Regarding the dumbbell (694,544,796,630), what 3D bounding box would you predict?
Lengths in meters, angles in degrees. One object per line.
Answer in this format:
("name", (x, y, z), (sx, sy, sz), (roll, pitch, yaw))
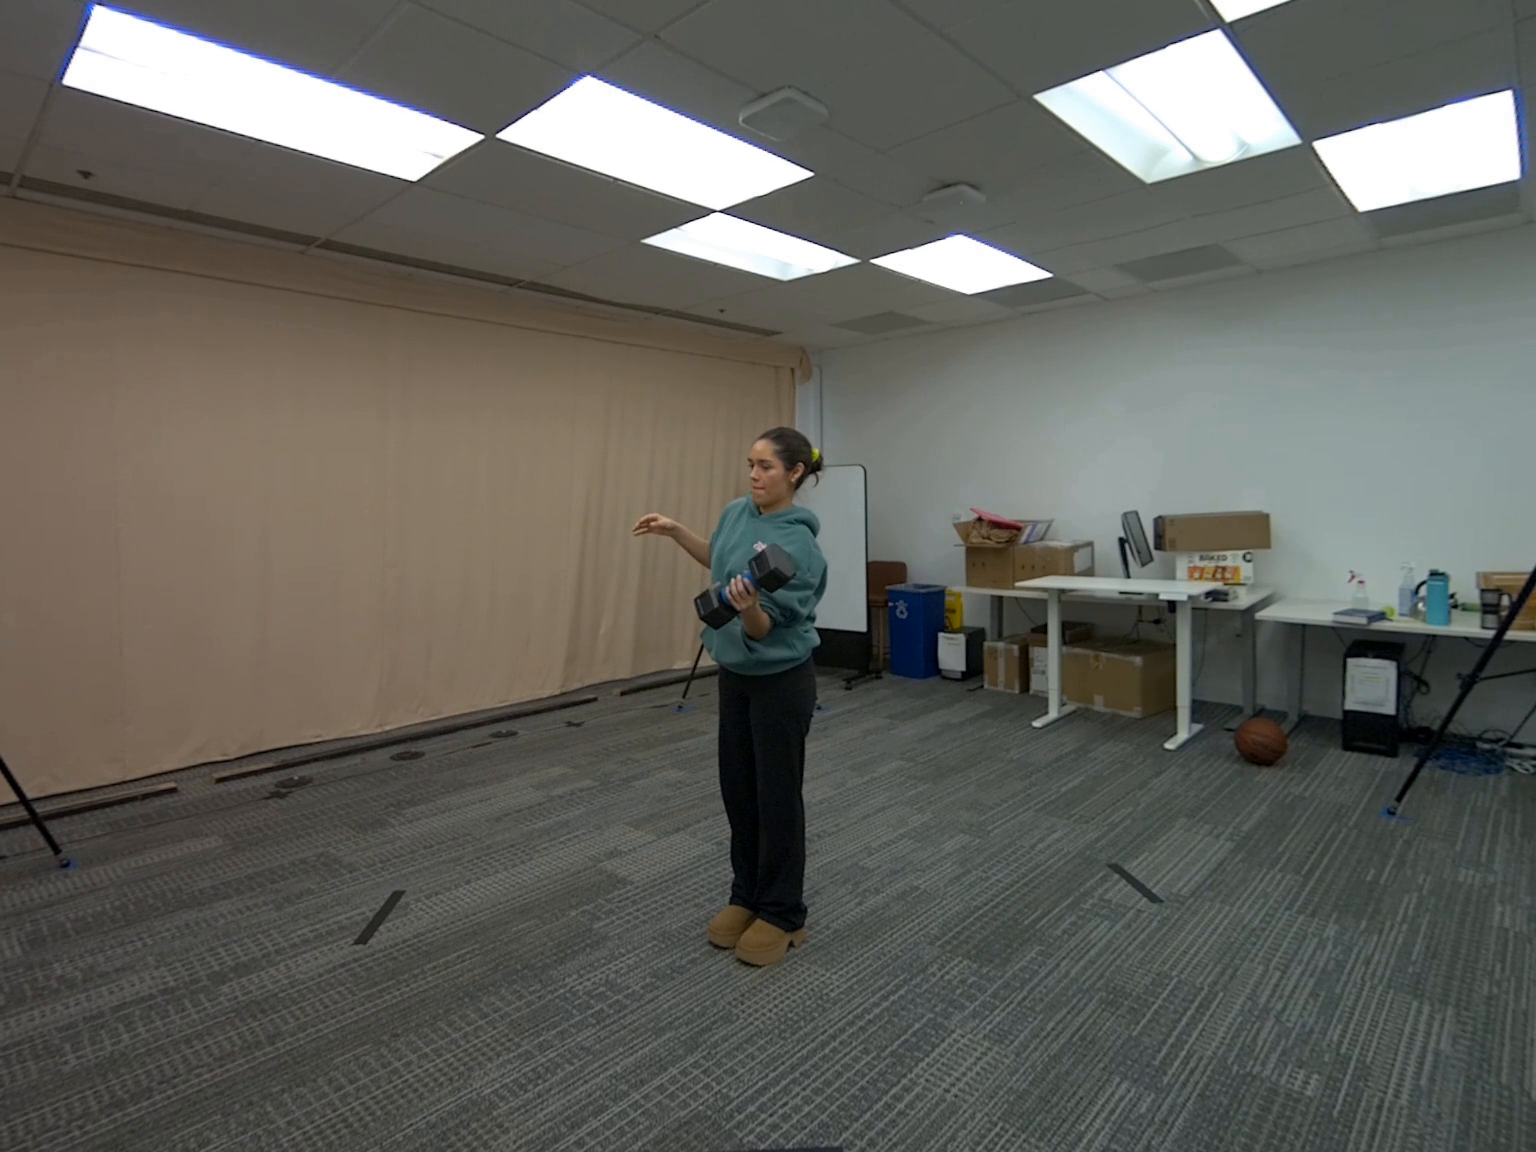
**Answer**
("dumbbell", (-0.058, 0.030, 2.271), (0.297, 0.108, 0.122), (-35, 4, 30))
